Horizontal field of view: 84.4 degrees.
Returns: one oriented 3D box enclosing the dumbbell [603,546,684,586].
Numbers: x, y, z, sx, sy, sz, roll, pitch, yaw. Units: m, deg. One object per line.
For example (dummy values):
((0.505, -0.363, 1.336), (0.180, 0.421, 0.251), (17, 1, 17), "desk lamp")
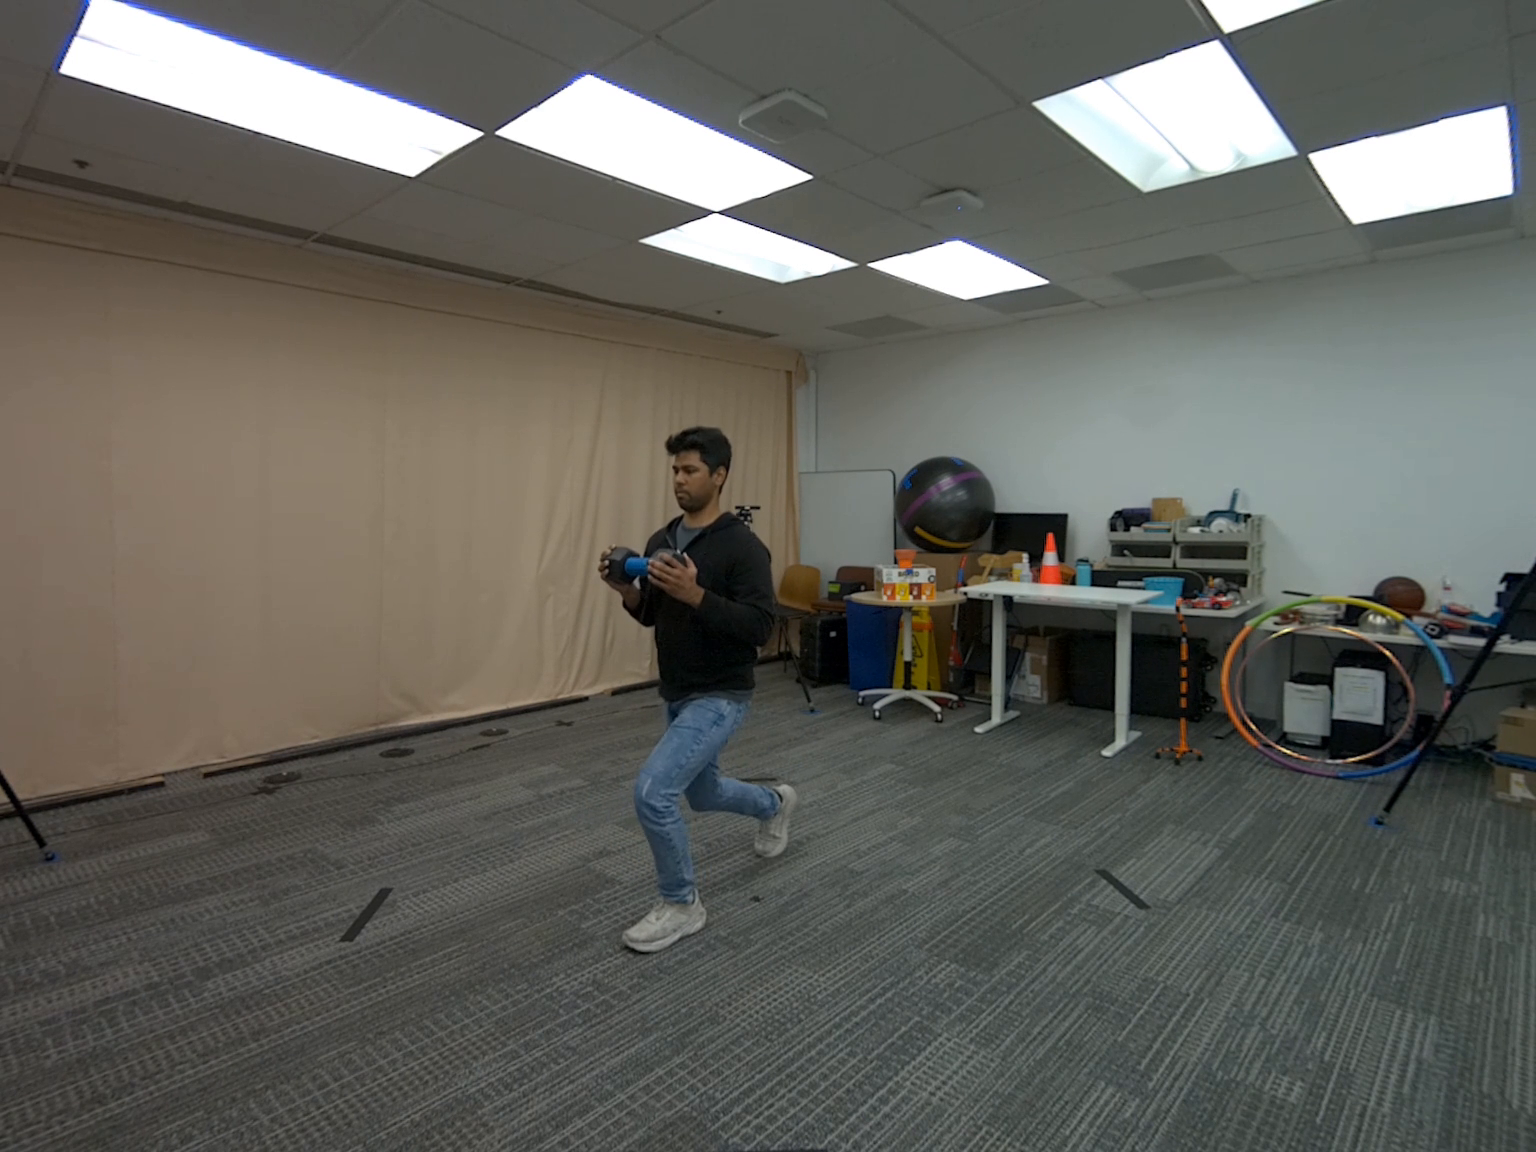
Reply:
((-0.382, -0.014, 2.667), (0.303, 0.122, 0.106), (4, 15, 40), "dumbbell")
